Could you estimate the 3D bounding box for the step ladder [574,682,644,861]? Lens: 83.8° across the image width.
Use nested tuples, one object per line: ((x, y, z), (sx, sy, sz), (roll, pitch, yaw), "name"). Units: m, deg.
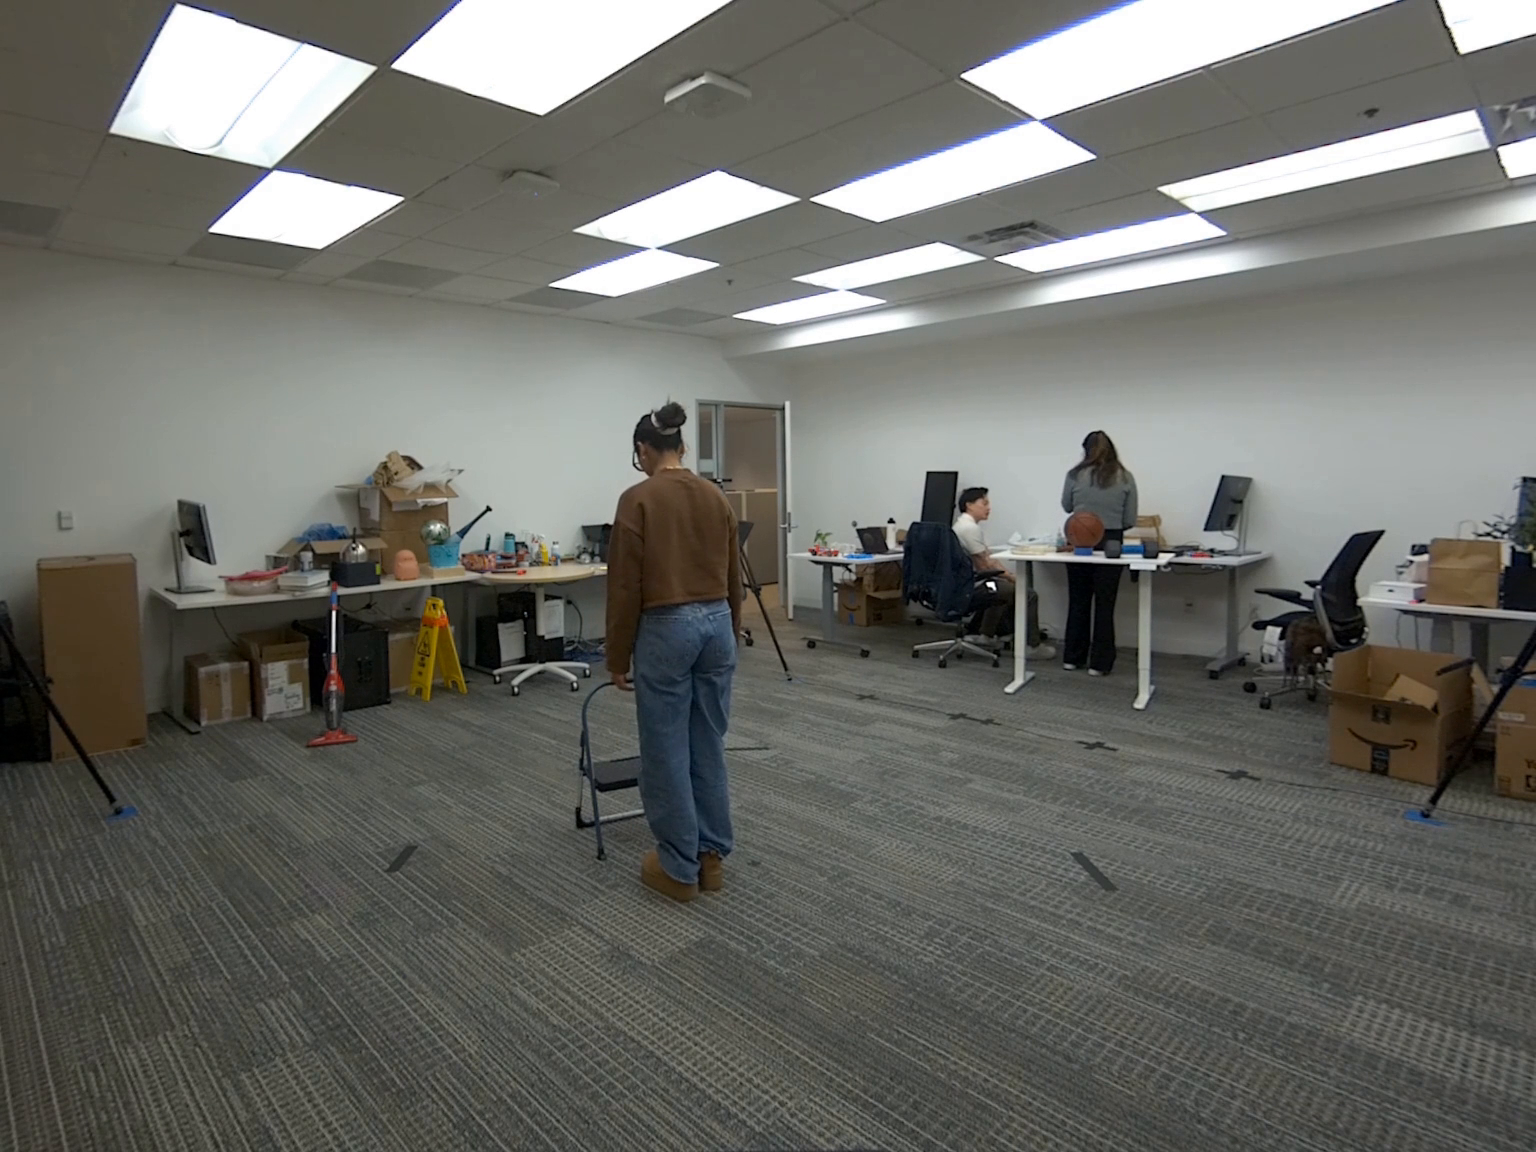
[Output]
((-0.522, 0.716, 3.378), (0.421, 0.604, 0.358), (-3, 5, -27), "step ladder")
